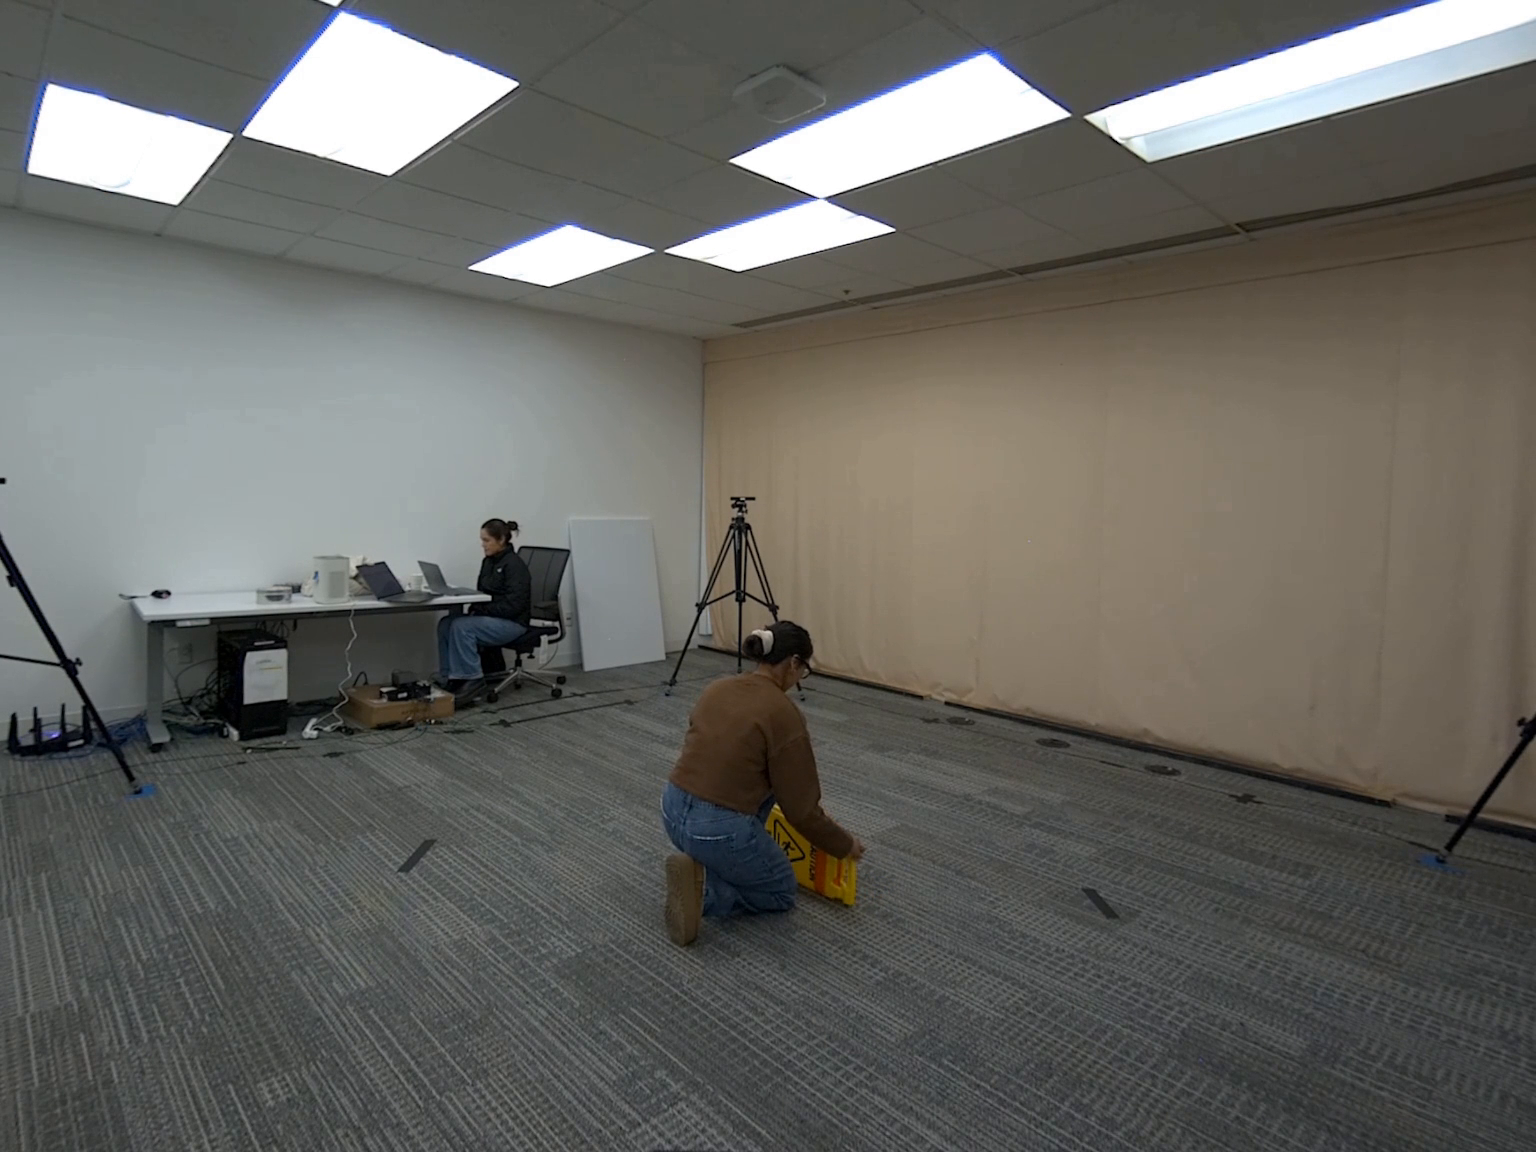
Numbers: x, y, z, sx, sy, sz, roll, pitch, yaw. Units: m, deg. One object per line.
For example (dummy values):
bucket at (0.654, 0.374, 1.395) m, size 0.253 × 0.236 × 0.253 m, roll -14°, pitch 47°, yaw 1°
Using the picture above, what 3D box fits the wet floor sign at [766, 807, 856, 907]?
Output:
wet floor sign at (0.113, 0.986, 3.129) m, size 0.284 × 0.281 × 0.662 m, roll -1°, pitch 8°, yaw -31°
